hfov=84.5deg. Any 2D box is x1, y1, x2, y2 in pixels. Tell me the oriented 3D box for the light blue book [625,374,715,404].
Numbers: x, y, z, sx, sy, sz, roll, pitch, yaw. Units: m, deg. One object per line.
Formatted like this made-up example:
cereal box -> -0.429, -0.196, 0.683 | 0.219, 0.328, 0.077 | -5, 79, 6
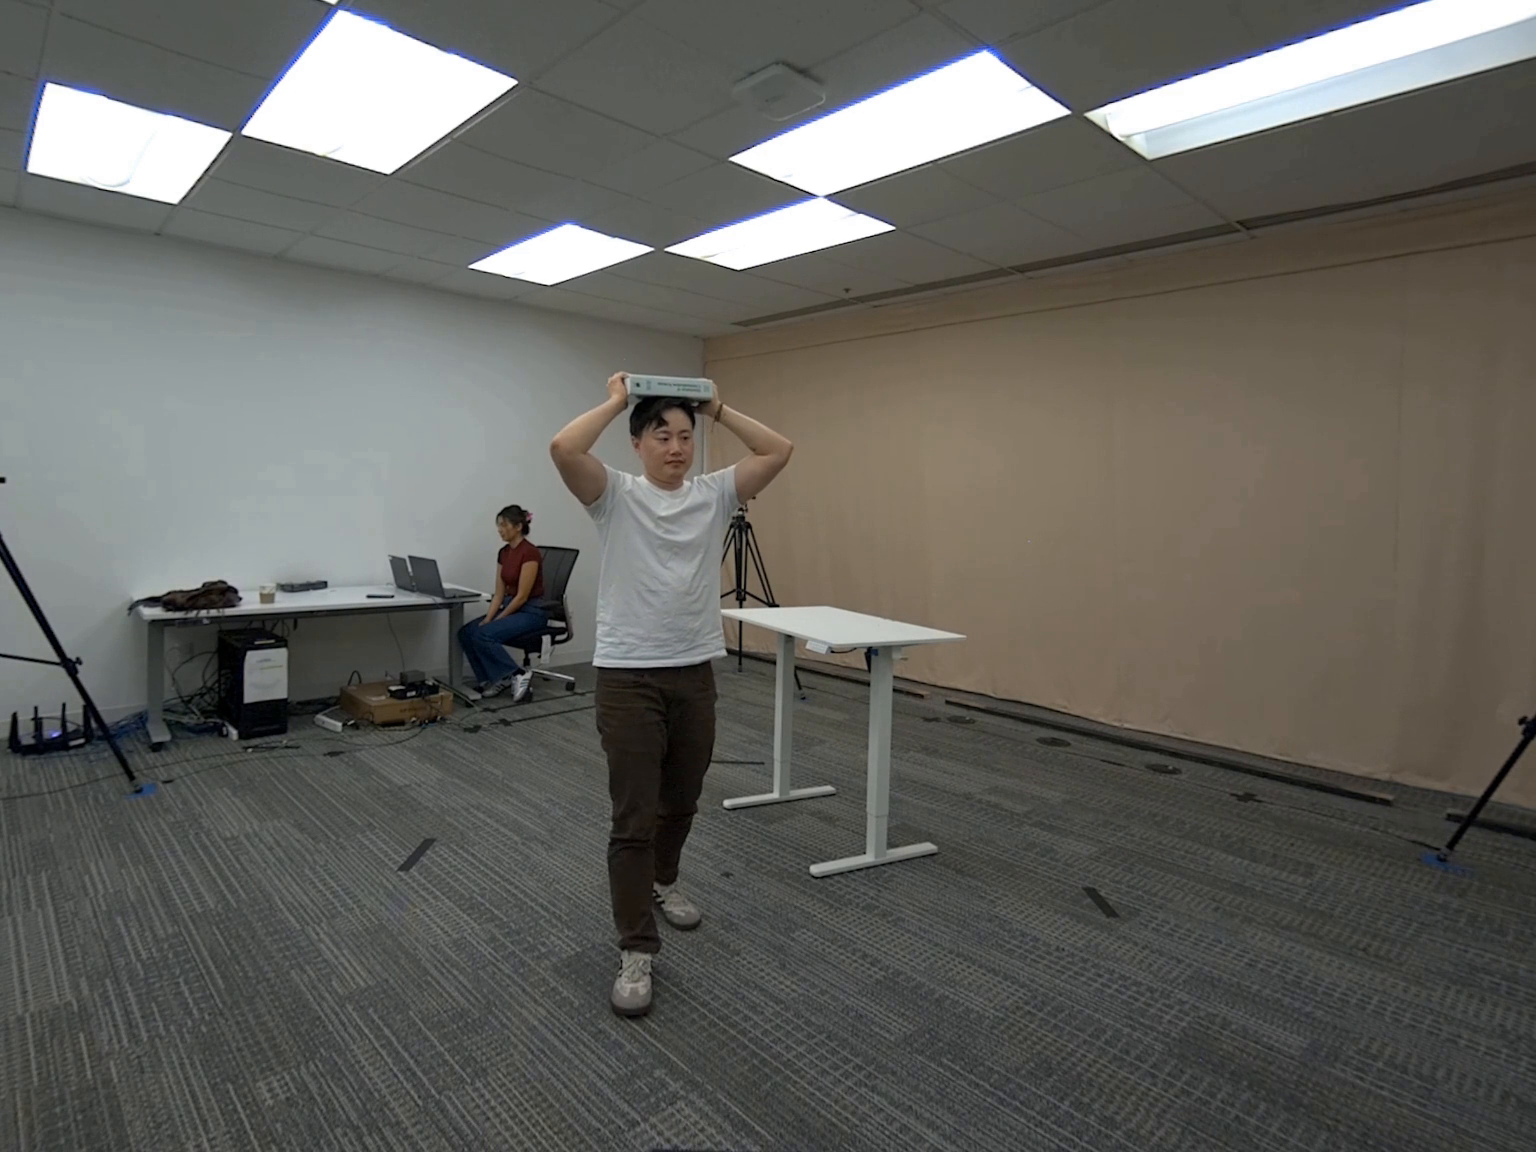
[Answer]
light blue book -> -0.327, -0.546, 2.494 | 0.256, 0.059, 0.195 | -2, 4, -27
